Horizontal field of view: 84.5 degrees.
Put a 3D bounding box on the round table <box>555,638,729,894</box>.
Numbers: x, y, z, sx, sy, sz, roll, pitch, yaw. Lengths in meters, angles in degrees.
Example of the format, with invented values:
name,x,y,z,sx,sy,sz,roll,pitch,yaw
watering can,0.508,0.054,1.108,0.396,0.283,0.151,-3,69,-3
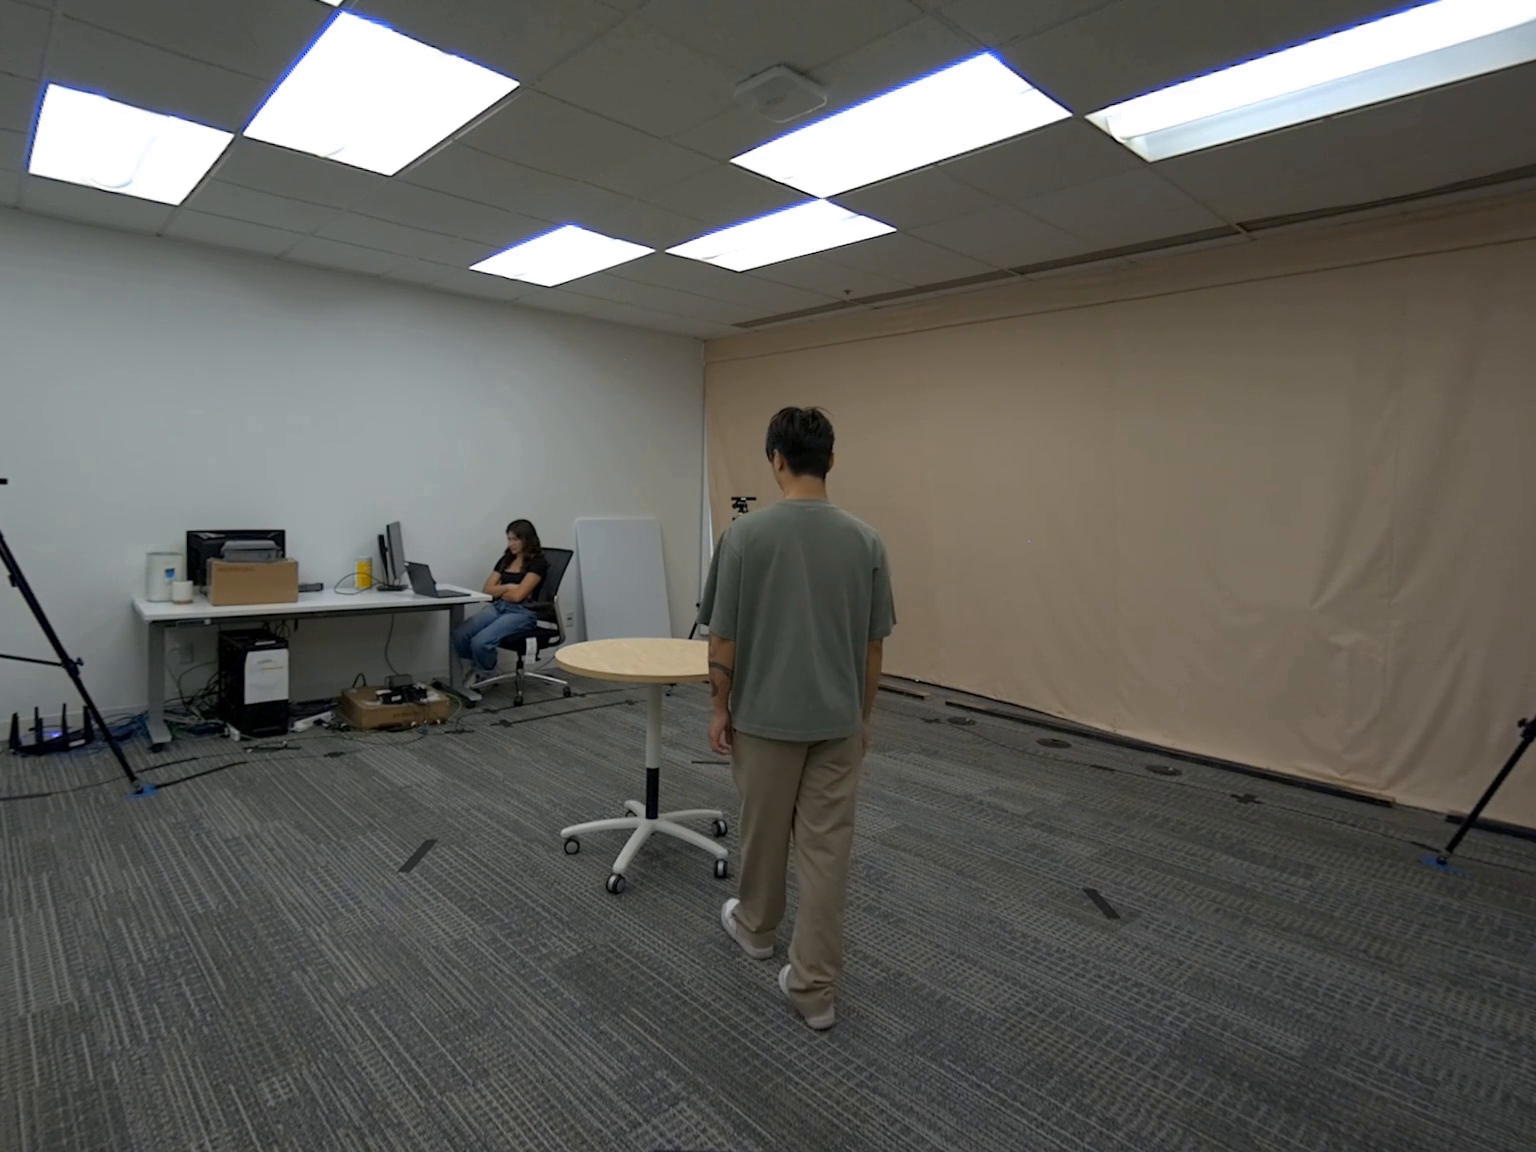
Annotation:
name,x,y,z,sx,sy,sz,roll,pitch,yaw
round table,-0.459,0.698,3.273,0.763,0.792,0.766,2,4,-1
